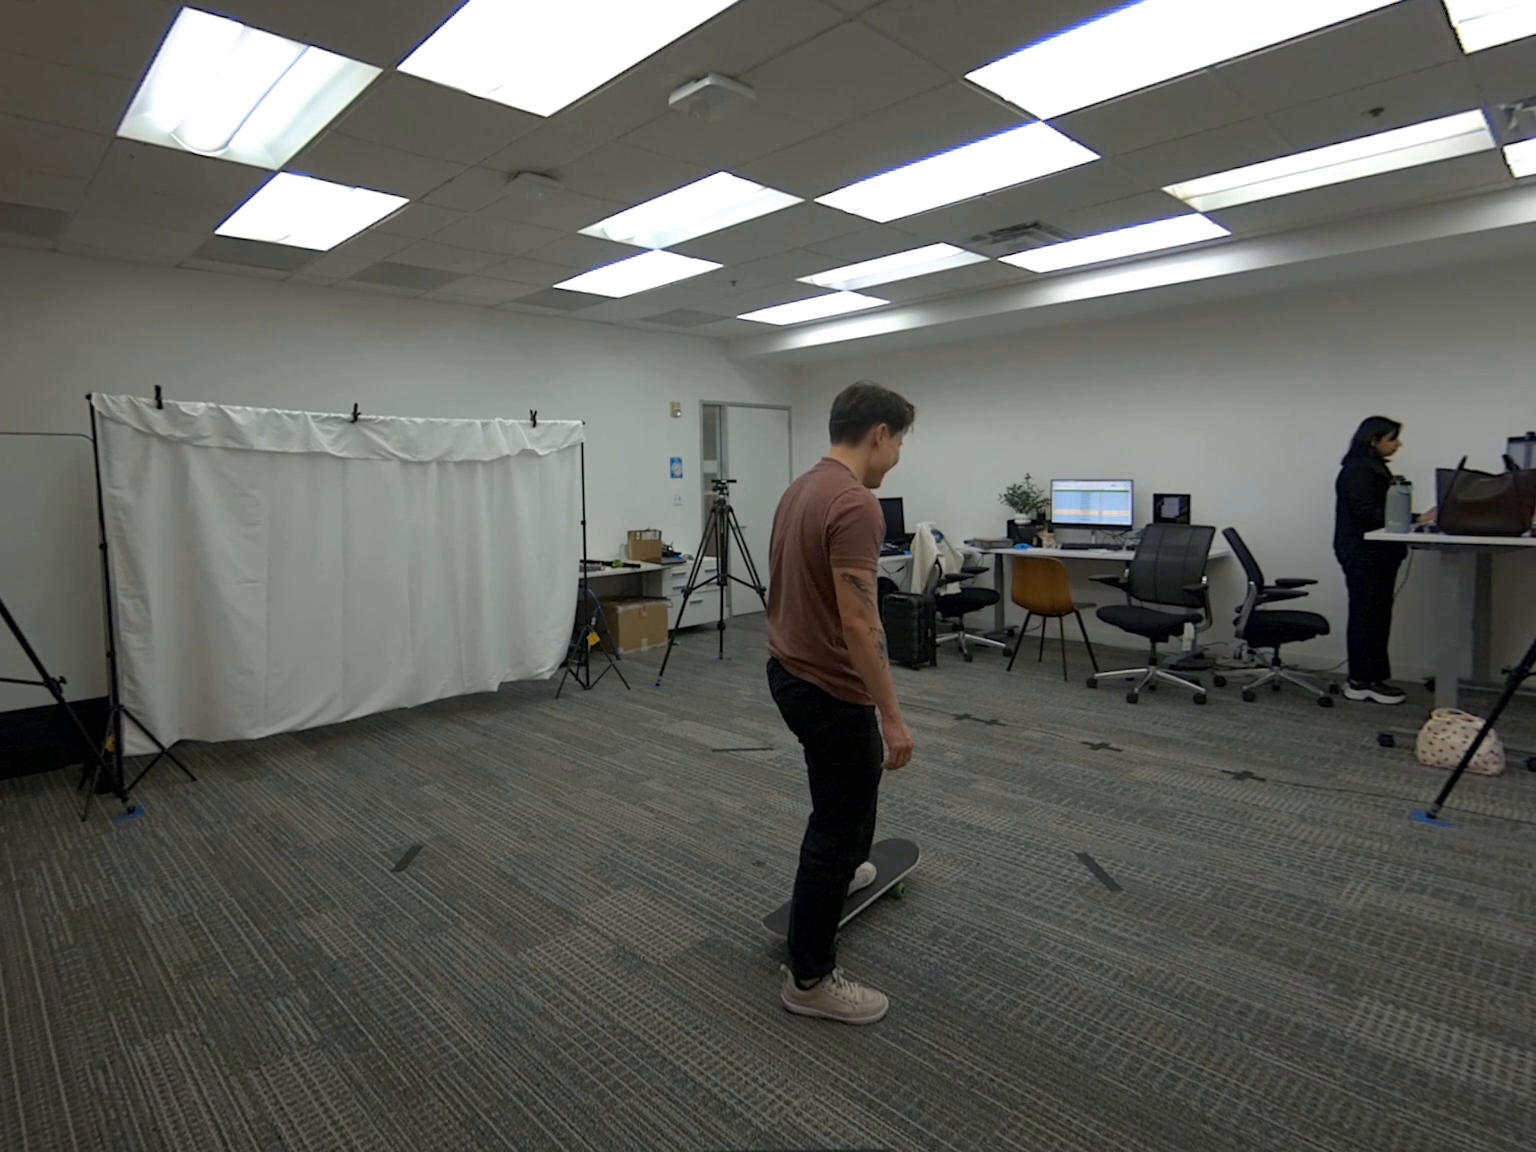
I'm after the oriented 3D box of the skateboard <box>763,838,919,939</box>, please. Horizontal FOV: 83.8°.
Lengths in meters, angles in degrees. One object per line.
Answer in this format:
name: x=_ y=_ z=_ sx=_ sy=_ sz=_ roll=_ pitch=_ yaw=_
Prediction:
skateboard: x=0.266 y=1.030 z=2.733 sx=0.199 sy=0.110 sz=0.766 roll=5 pitch=9 yaw=37
